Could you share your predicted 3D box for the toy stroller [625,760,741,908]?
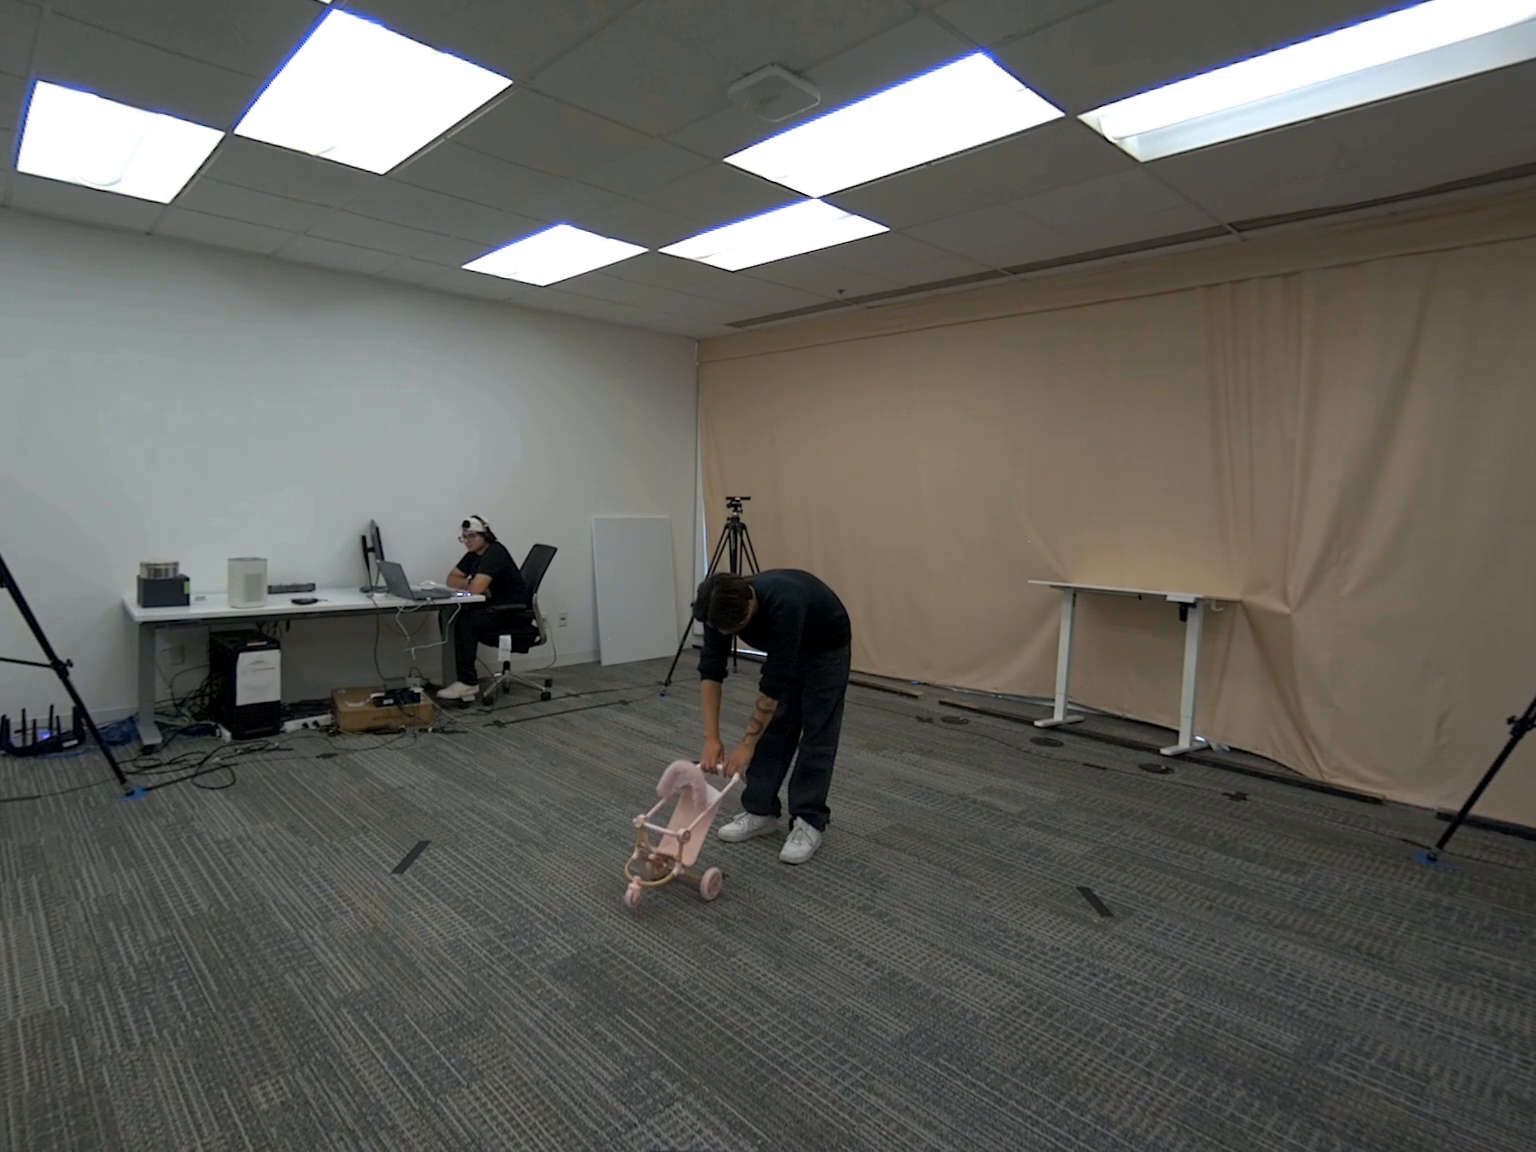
[{"bbox_3d":[-0.326,0.890,2.949,0.288,0.539,0.330,3,-19,40],"label":"toy stroller"}]
